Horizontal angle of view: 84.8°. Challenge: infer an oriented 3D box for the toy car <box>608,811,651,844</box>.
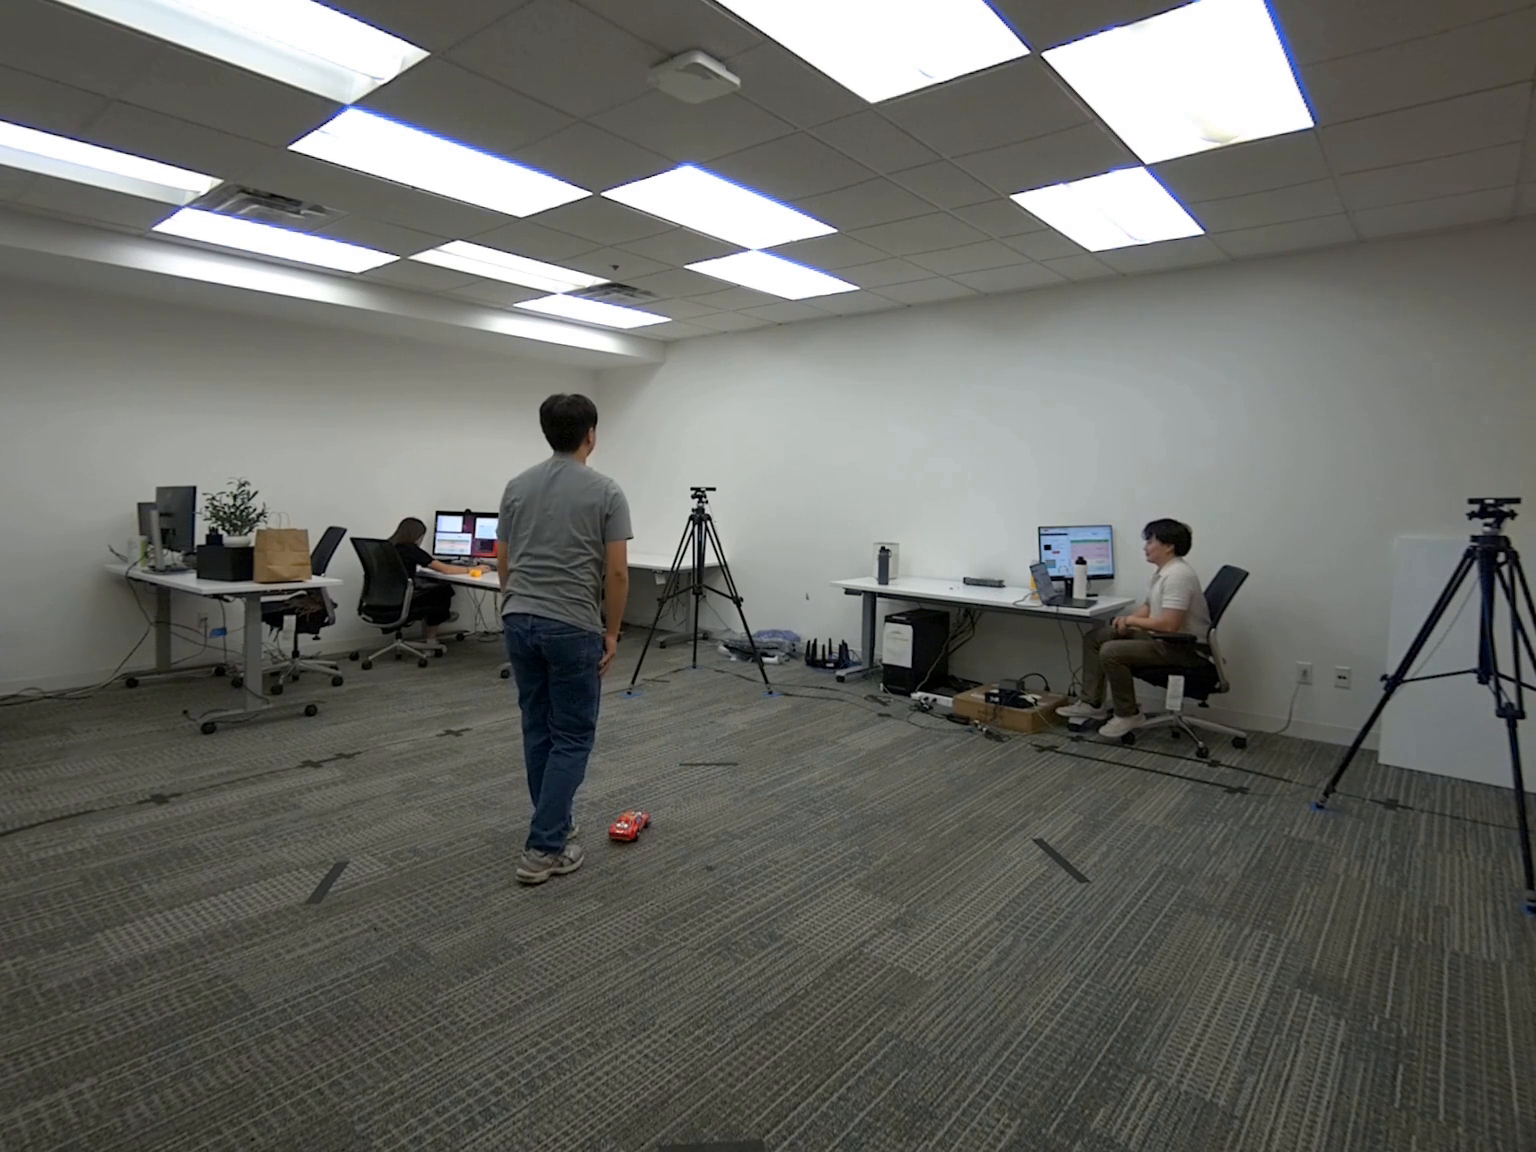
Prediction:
[{"bbox_3d":[-0.568,1.002,3.403,0.132,0.084,0.250,2,-5,11],"label":"toy car"}]
